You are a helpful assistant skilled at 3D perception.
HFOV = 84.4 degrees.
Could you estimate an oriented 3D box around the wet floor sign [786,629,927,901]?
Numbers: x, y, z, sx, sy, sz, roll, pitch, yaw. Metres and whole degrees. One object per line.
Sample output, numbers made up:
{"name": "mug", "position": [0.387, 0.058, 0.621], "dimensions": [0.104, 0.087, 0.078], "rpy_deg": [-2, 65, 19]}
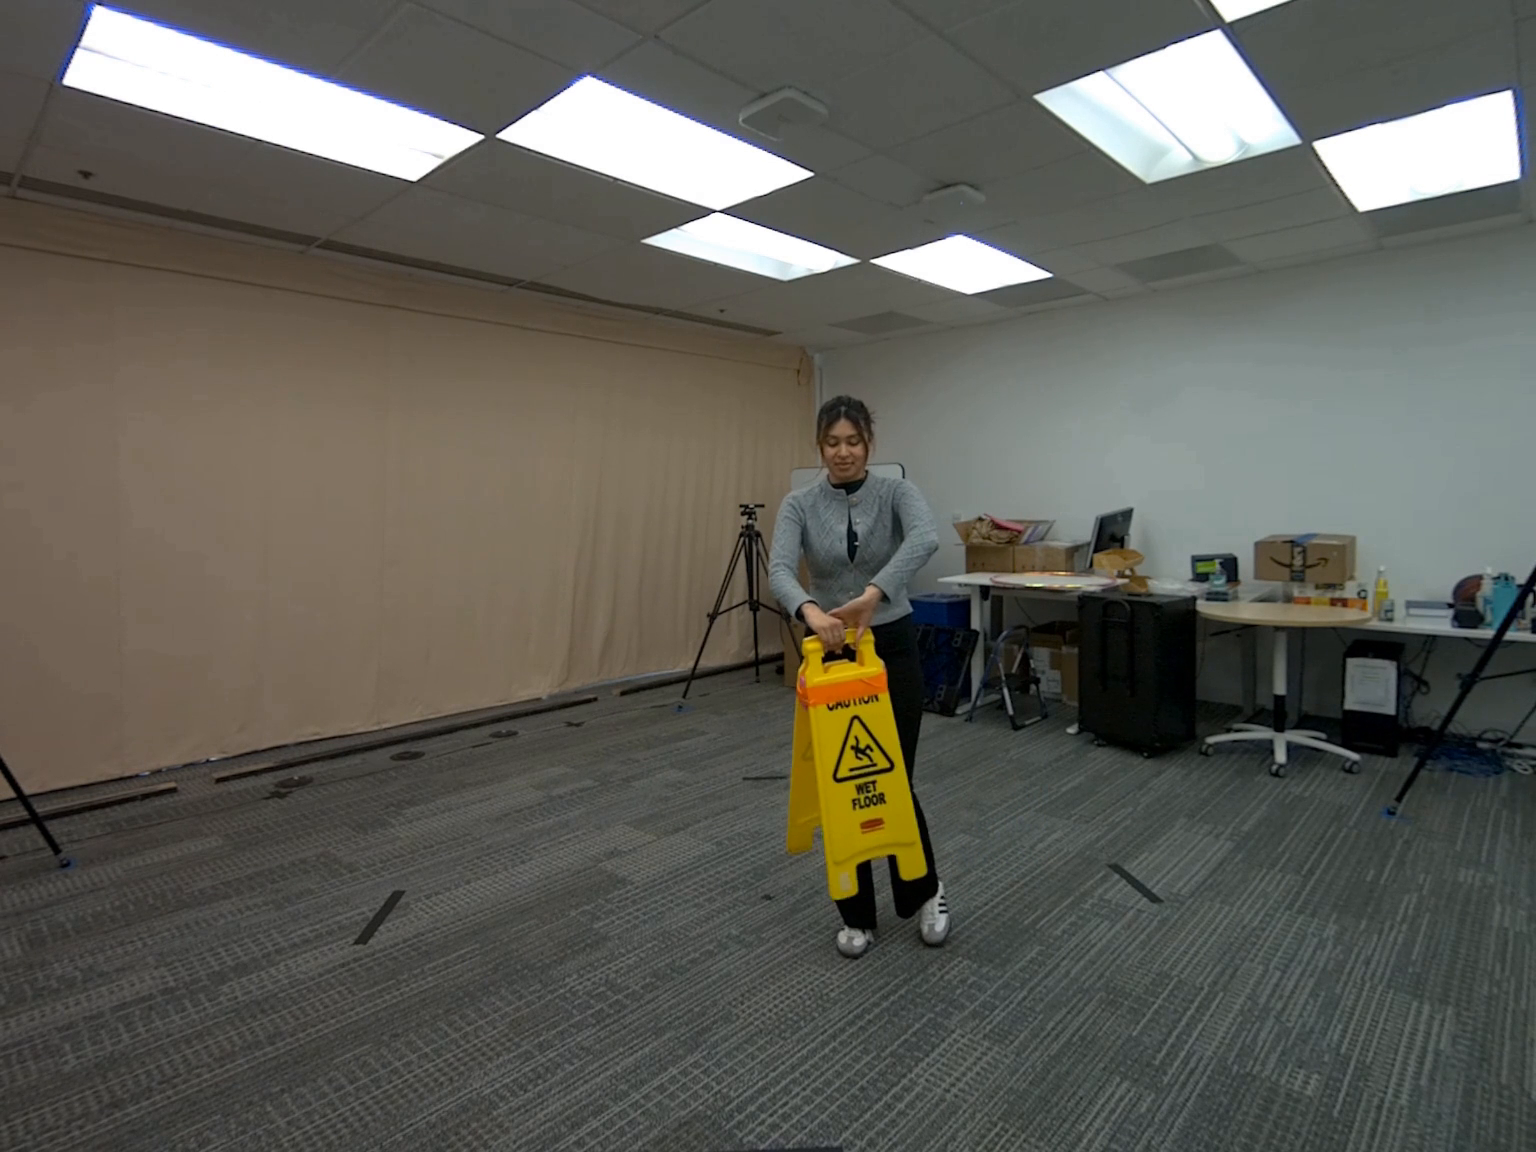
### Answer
{"name": "wet floor sign", "position": [0.209, 0.469, 2.252], "dimensions": [0.277, 0.643, 0.296], "rpy_deg": [-8, 7, -19]}
